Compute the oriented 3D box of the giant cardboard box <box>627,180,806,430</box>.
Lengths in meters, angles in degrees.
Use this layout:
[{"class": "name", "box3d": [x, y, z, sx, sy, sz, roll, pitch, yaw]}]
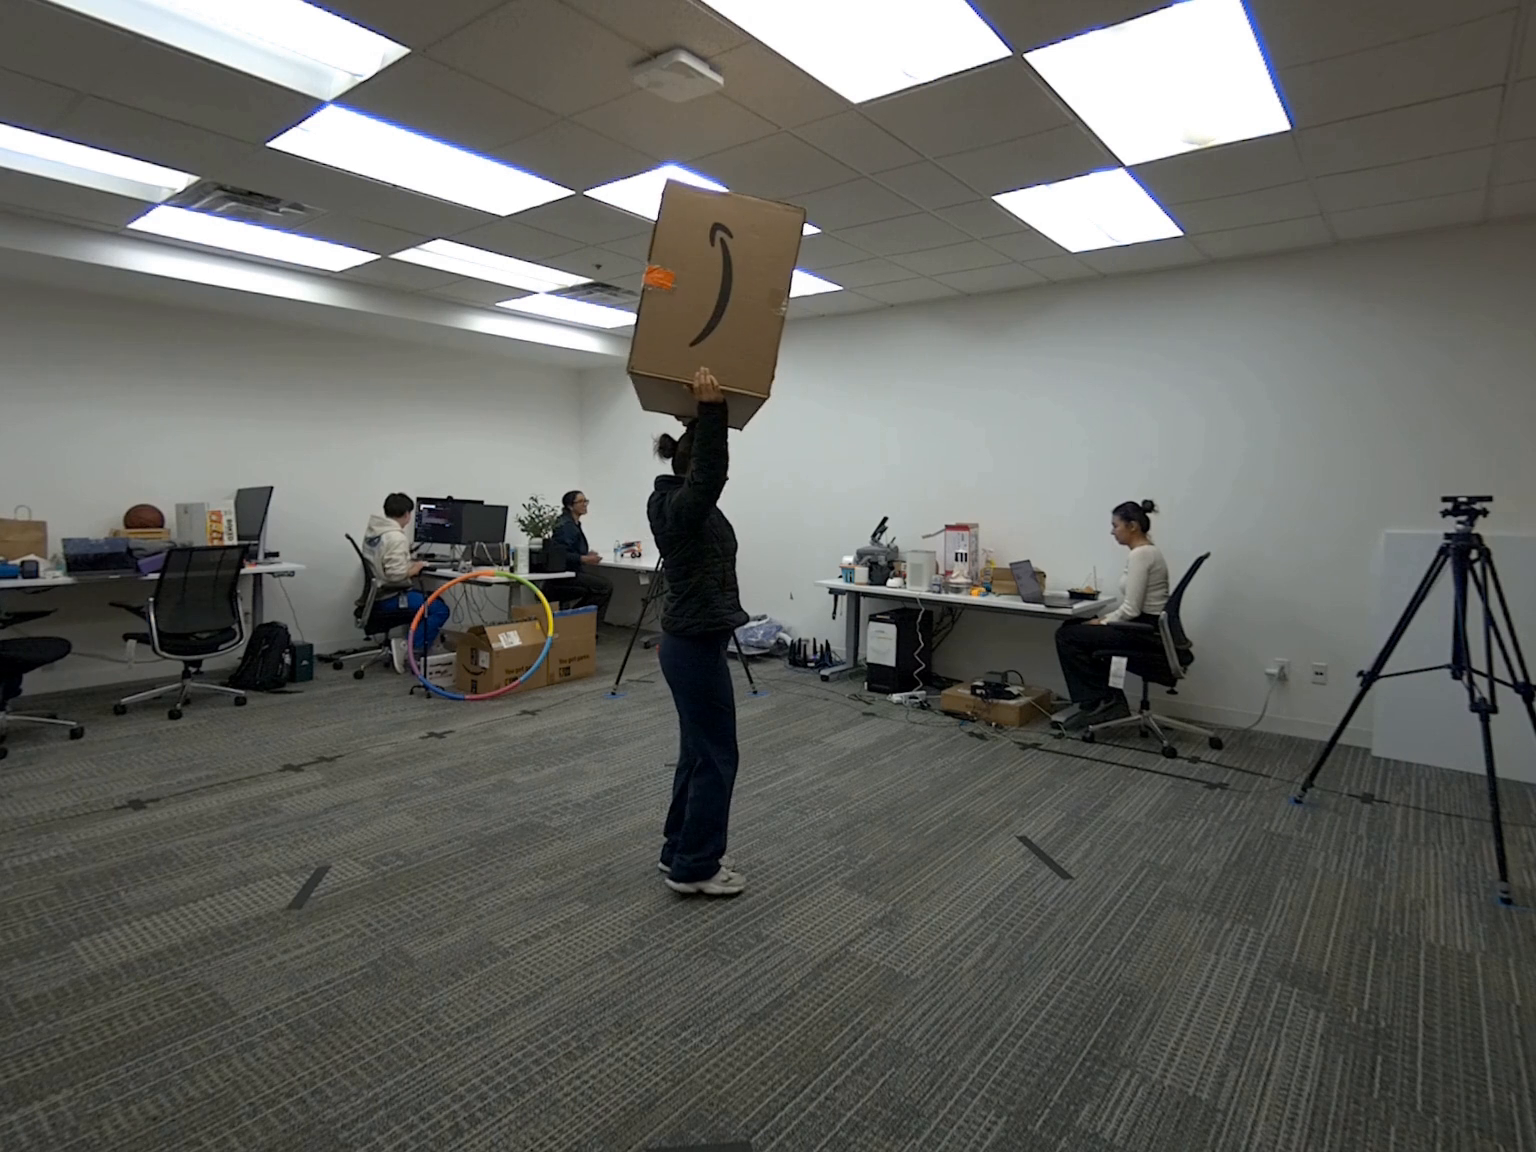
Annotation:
[{"class": "giant cardboard box", "box3d": [-0.189, -0.880, 2.989, 0.445, 0.583, 1.033, 11, 2, -5]}]
